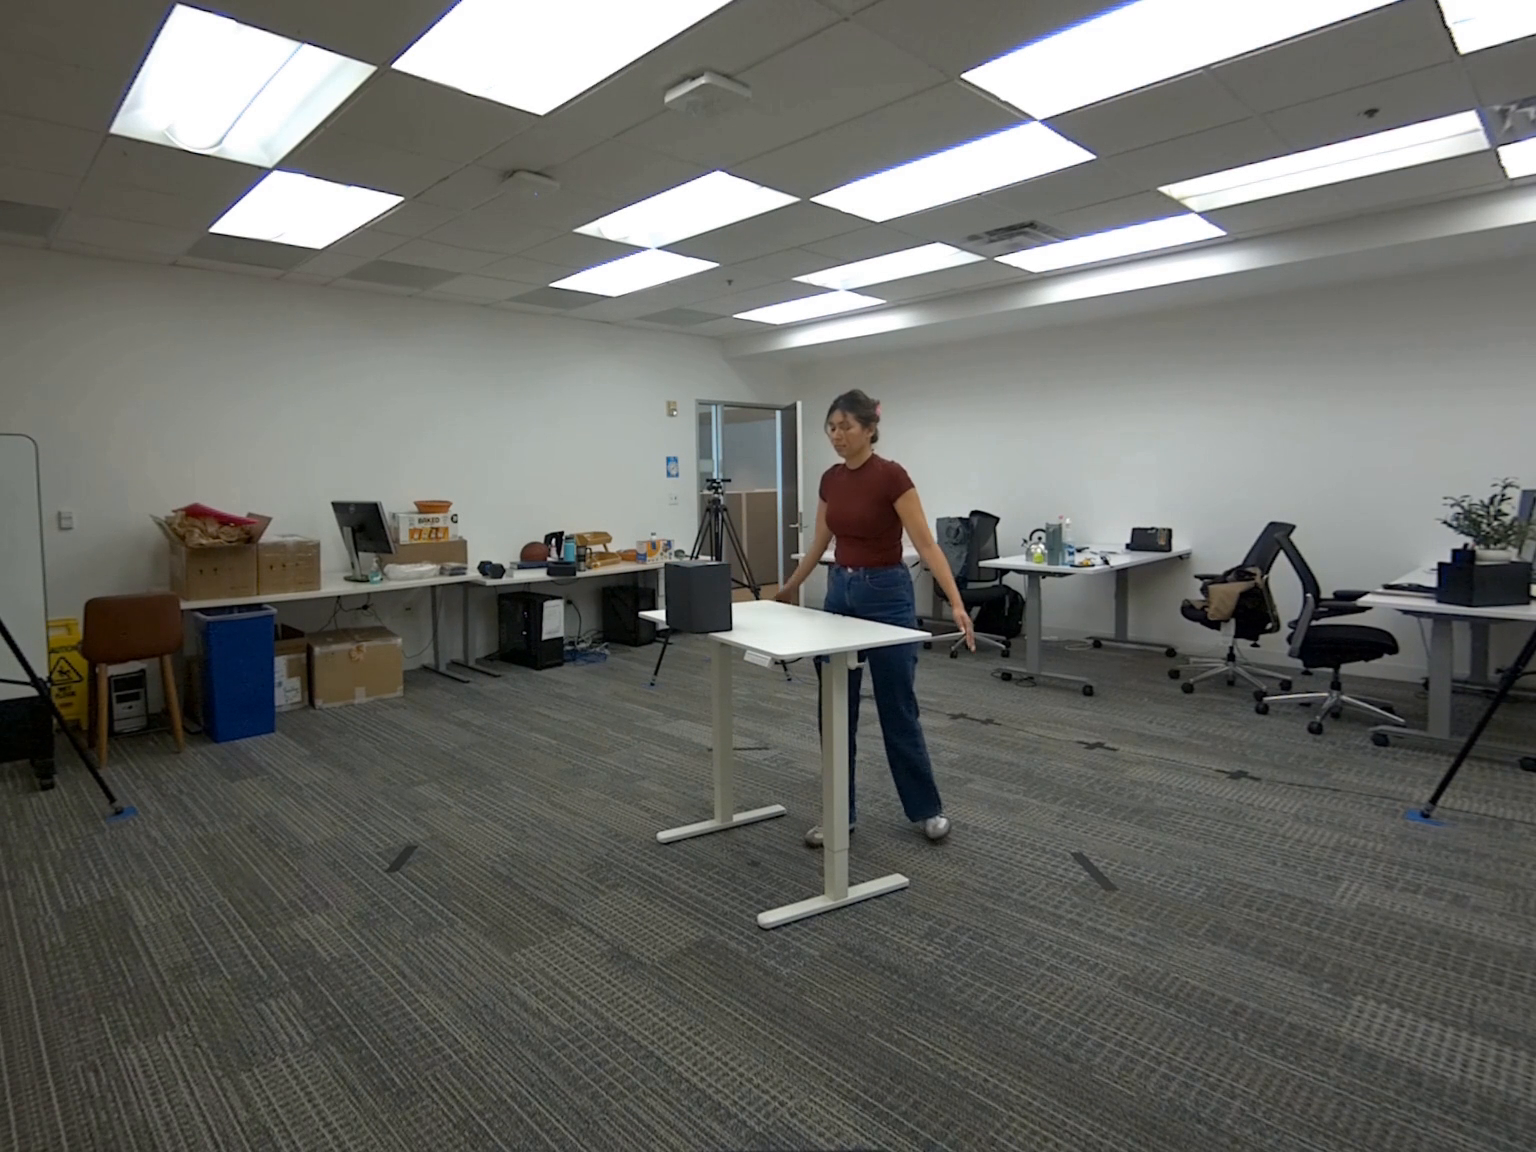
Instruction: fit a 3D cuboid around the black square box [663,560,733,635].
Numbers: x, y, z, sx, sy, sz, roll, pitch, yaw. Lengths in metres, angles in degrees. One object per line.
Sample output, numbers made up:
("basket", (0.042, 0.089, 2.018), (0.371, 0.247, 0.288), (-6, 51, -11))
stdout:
("black square box", (-0.243, 0.067, 2.948), (0.152, 0.227, 0.223), (-3, 5, -28))
